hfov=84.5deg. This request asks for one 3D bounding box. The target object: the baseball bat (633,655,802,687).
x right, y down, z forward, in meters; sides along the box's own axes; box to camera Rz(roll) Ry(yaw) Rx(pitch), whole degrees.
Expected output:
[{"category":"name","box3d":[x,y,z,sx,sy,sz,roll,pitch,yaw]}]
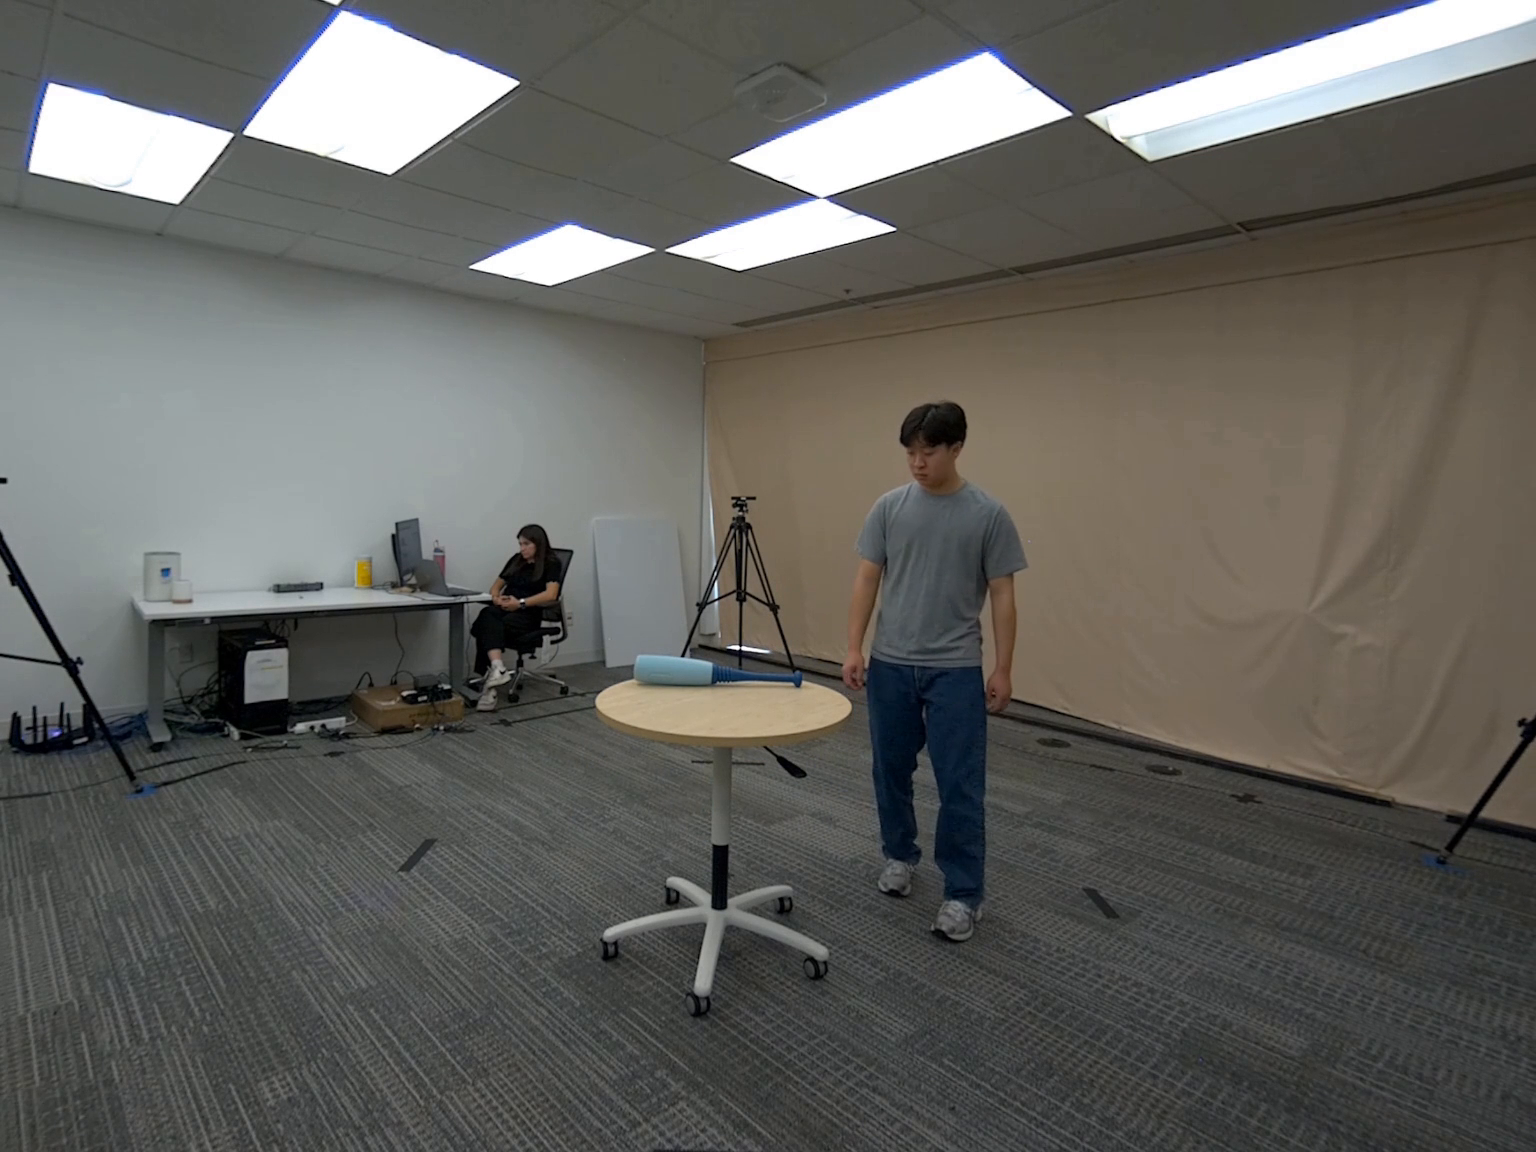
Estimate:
[{"category":"baseball bat","box3d":[-0.165,0.319,2.716,0.541,0.089,0.089,4,4,-5]}]
